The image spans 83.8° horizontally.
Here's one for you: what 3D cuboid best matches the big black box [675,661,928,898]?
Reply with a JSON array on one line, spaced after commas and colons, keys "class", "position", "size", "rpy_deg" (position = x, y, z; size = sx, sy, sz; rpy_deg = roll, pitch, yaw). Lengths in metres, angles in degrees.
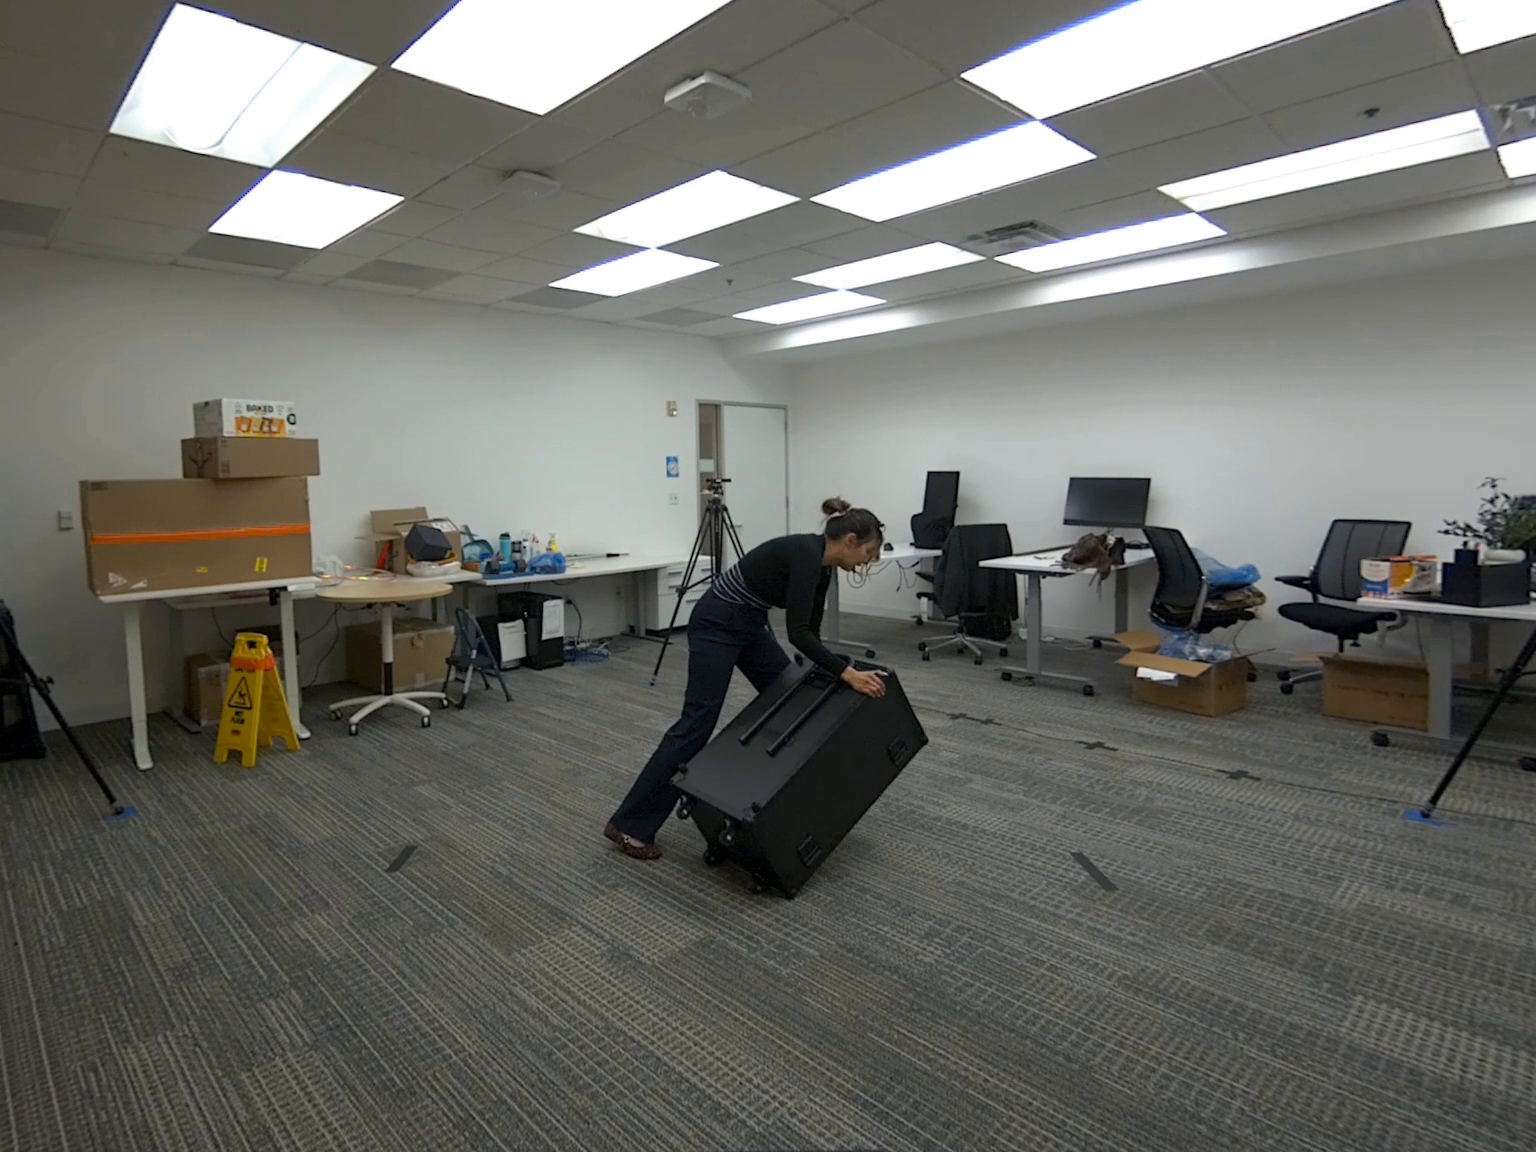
[{"class": "big black box", "position": [0.146, 0.674, 3.149], "size": [0.858, 0.386, 0.536], "rpy_deg": [-41, 25, -26]}]
